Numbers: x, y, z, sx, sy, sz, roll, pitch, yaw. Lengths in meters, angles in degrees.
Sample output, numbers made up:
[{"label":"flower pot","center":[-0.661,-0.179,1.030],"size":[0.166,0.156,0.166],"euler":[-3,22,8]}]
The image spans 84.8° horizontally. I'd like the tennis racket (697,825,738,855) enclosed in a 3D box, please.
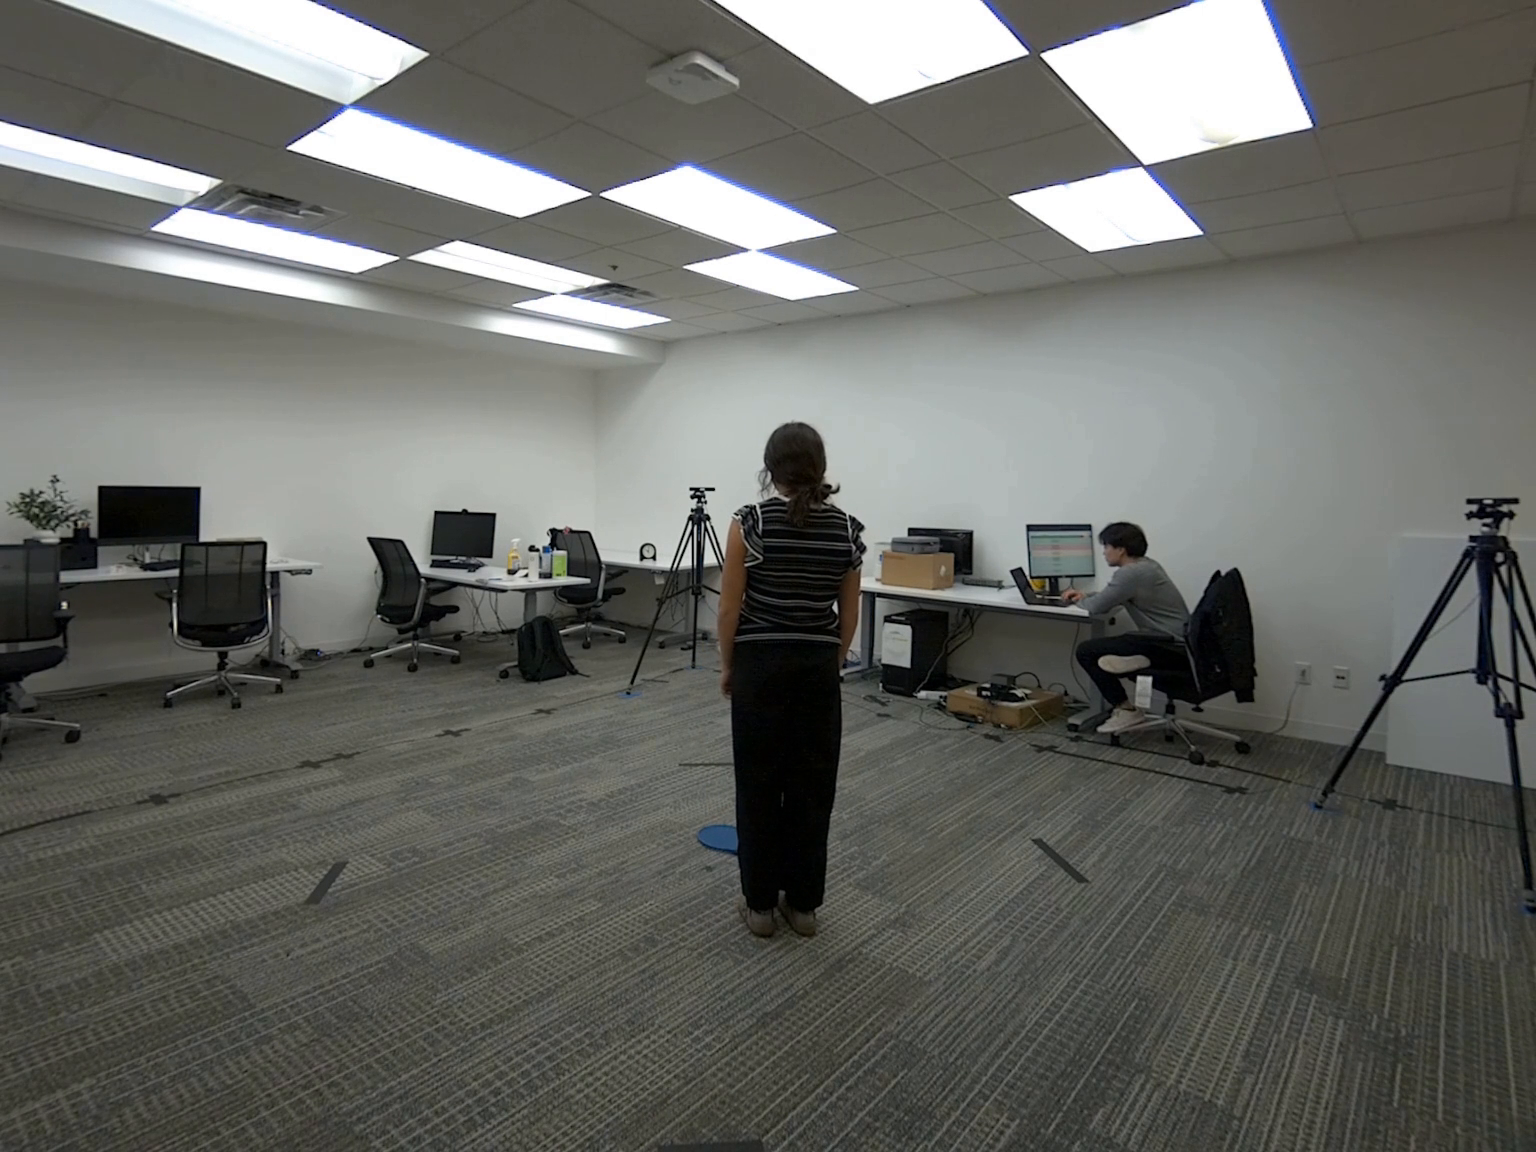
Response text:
[{"label":"tennis racket","center":[-0.141,1.034,3.293],"size":[0.208,0.031,0.445],"euler":[-3,6,-27]}]
